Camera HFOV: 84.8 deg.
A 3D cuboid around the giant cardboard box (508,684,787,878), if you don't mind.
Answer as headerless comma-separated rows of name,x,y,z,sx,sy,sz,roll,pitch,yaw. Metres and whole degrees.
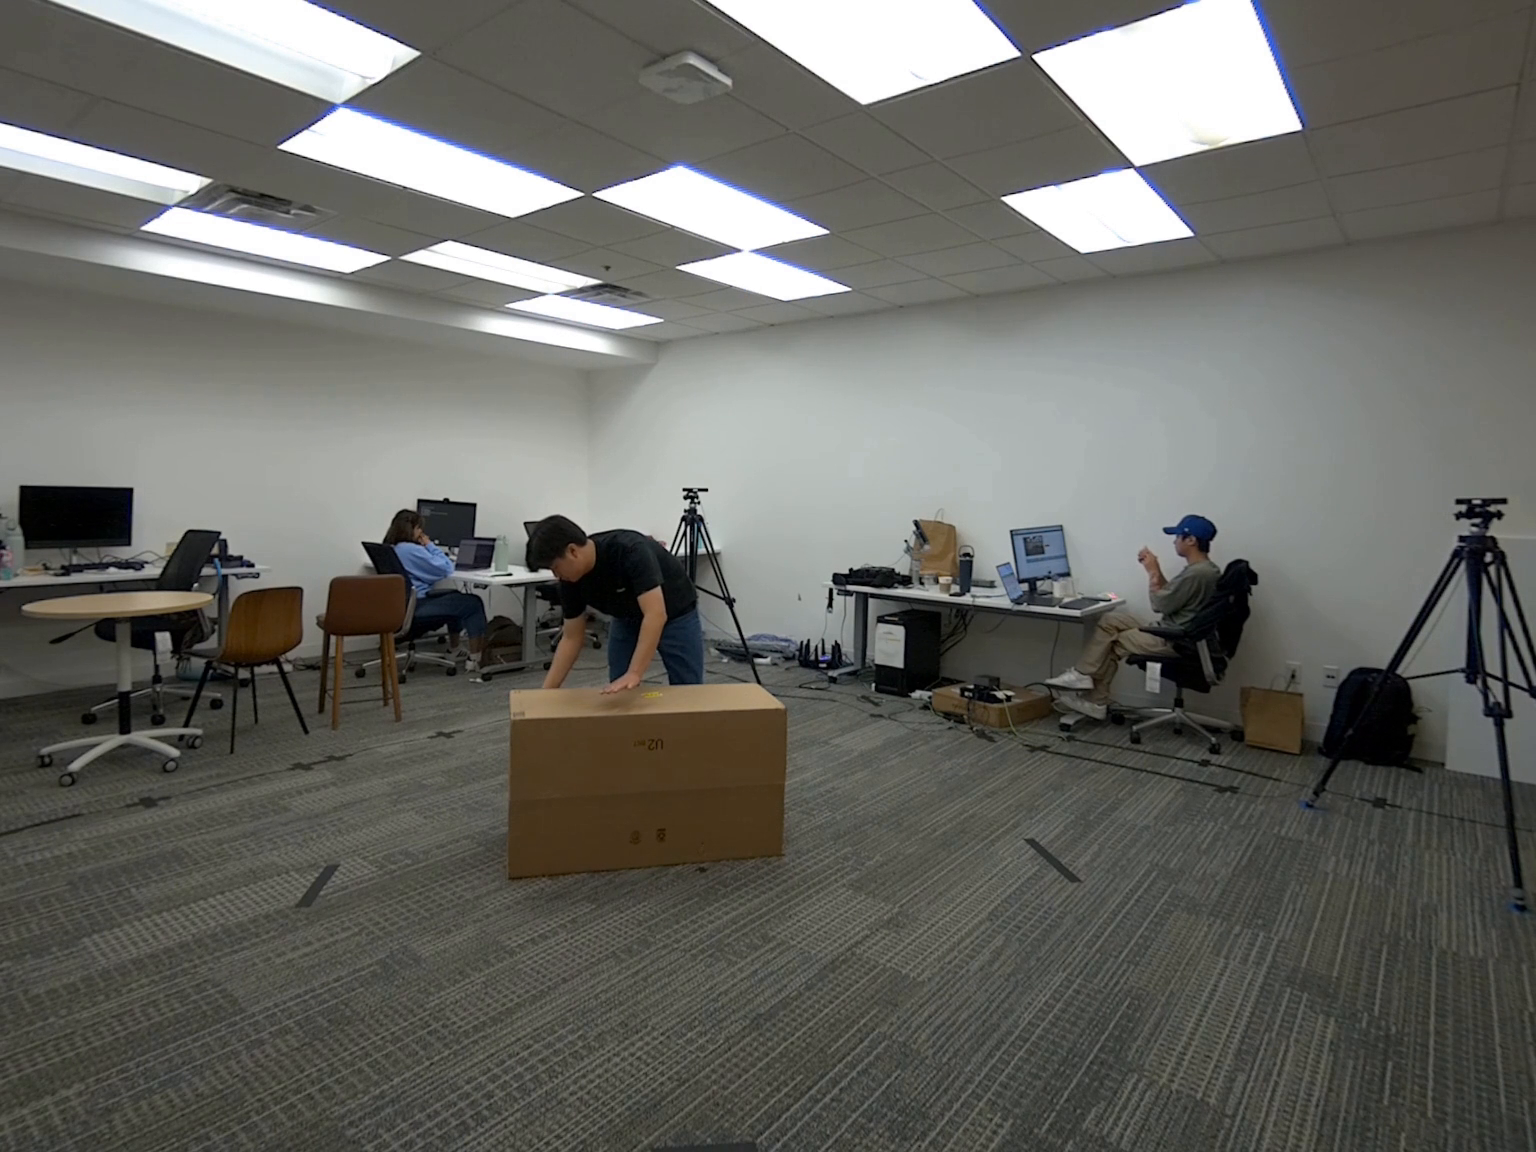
giant cardboard box,-0.491,0.755,3.308,1.011,0.583,0.455,0,3,-15
